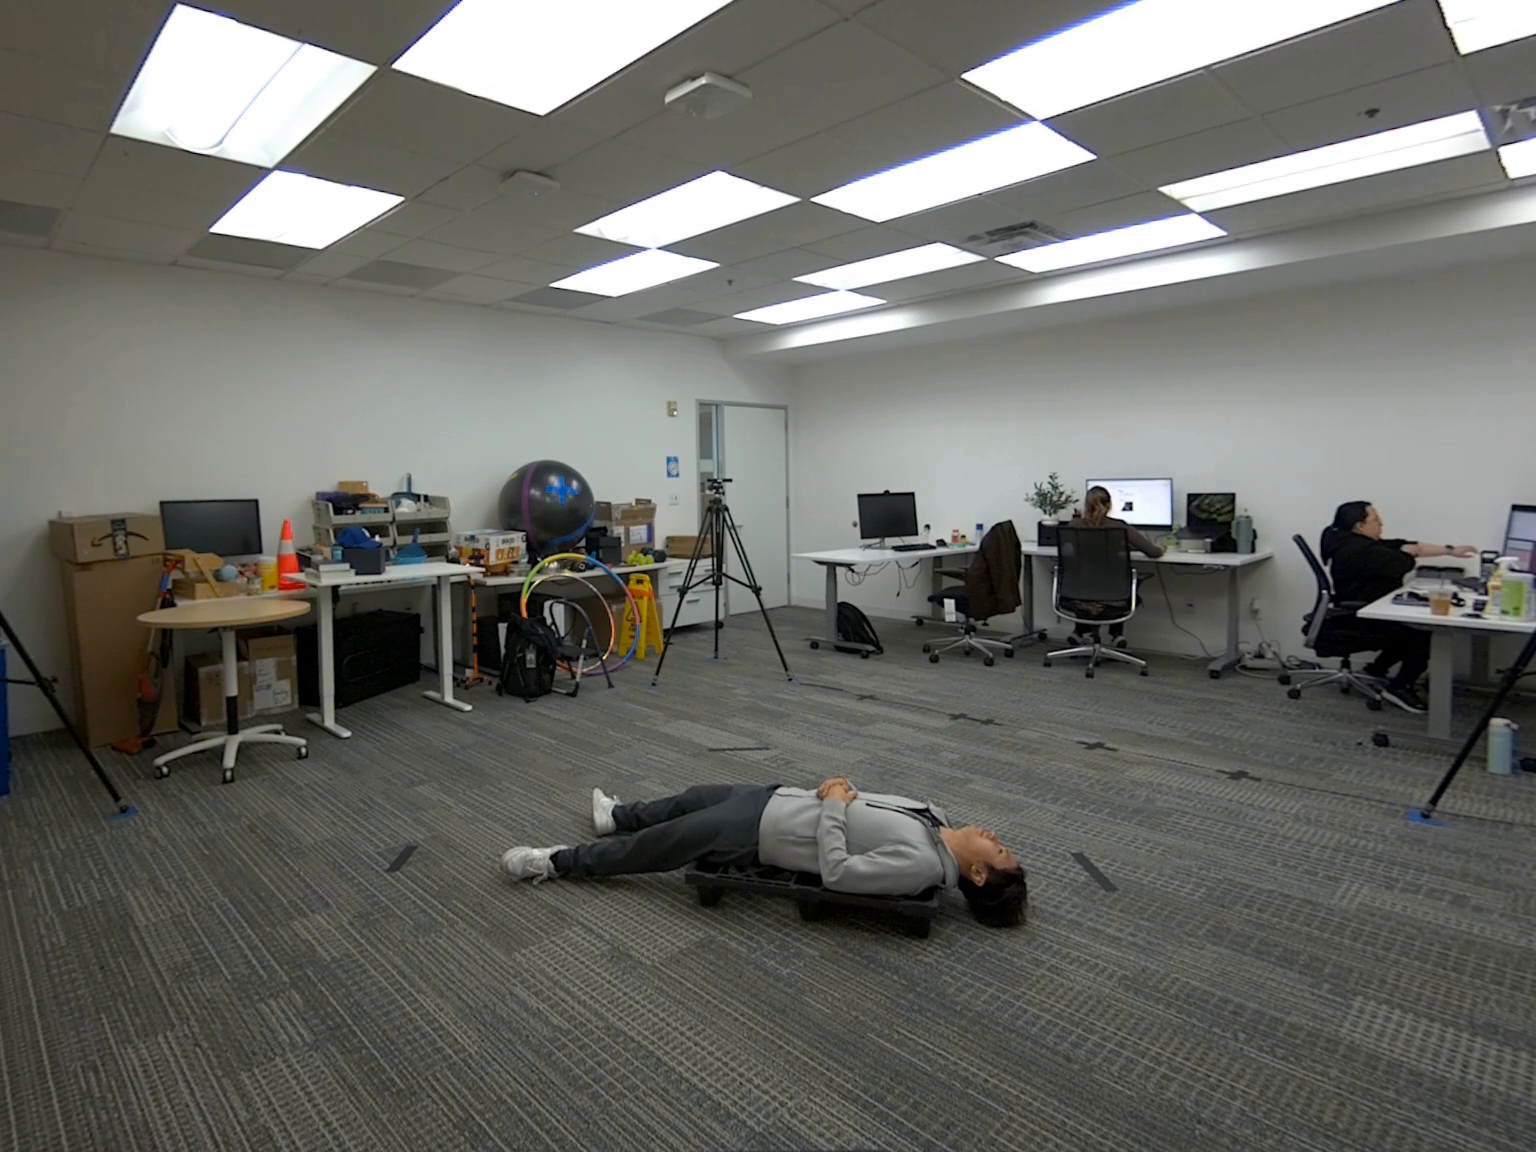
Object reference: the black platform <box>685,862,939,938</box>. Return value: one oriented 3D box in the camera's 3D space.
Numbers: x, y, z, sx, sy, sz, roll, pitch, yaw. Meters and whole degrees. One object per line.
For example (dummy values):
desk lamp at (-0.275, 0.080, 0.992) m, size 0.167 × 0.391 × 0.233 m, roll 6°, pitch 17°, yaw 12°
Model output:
black platform at (0.193, 0.991, 2.914) m, size 0.820 × 0.142 × 0.597 m, roll 3°, pitch 7°, yaw 18°
